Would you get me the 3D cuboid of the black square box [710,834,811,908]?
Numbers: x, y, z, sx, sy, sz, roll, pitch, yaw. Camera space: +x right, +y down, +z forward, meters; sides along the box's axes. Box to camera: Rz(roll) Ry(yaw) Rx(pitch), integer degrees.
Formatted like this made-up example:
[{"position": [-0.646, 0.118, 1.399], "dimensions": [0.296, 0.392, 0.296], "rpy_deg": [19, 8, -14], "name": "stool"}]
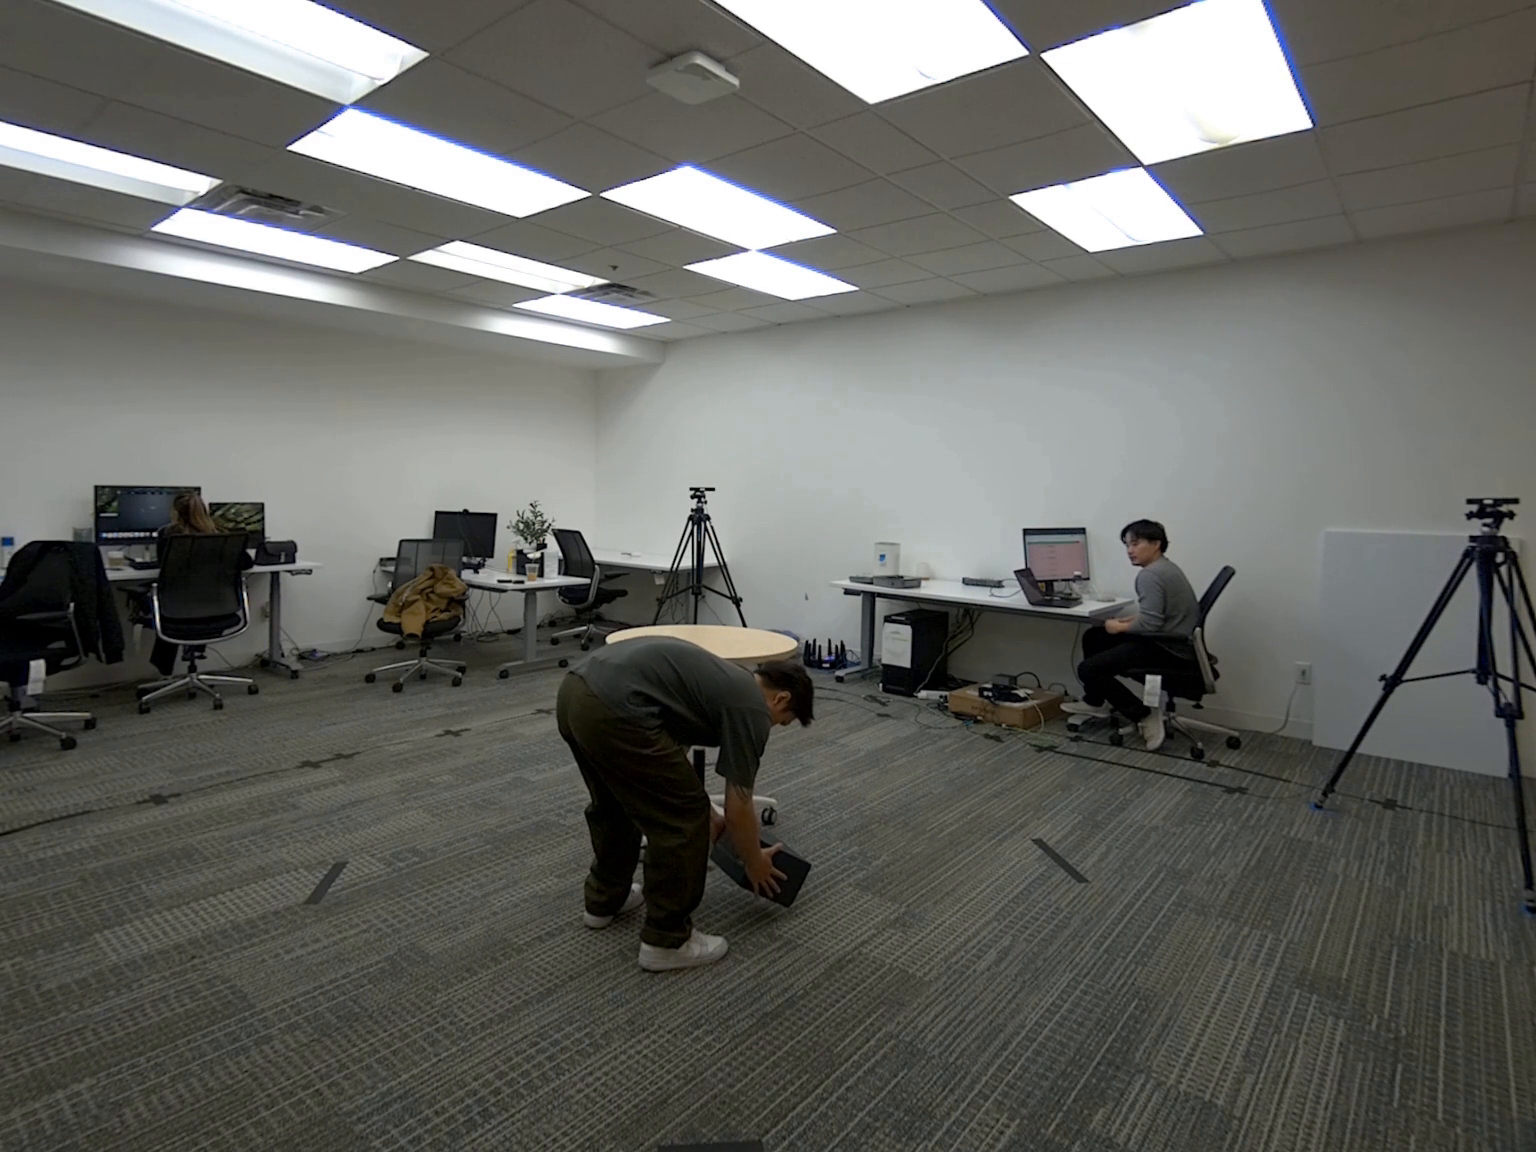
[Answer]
[{"position": [-0.035, 0.939, 2.803], "dimensions": [0.220, 0.156, 0.224], "rpy_deg": [36, -11, -30], "name": "black square box"}]
